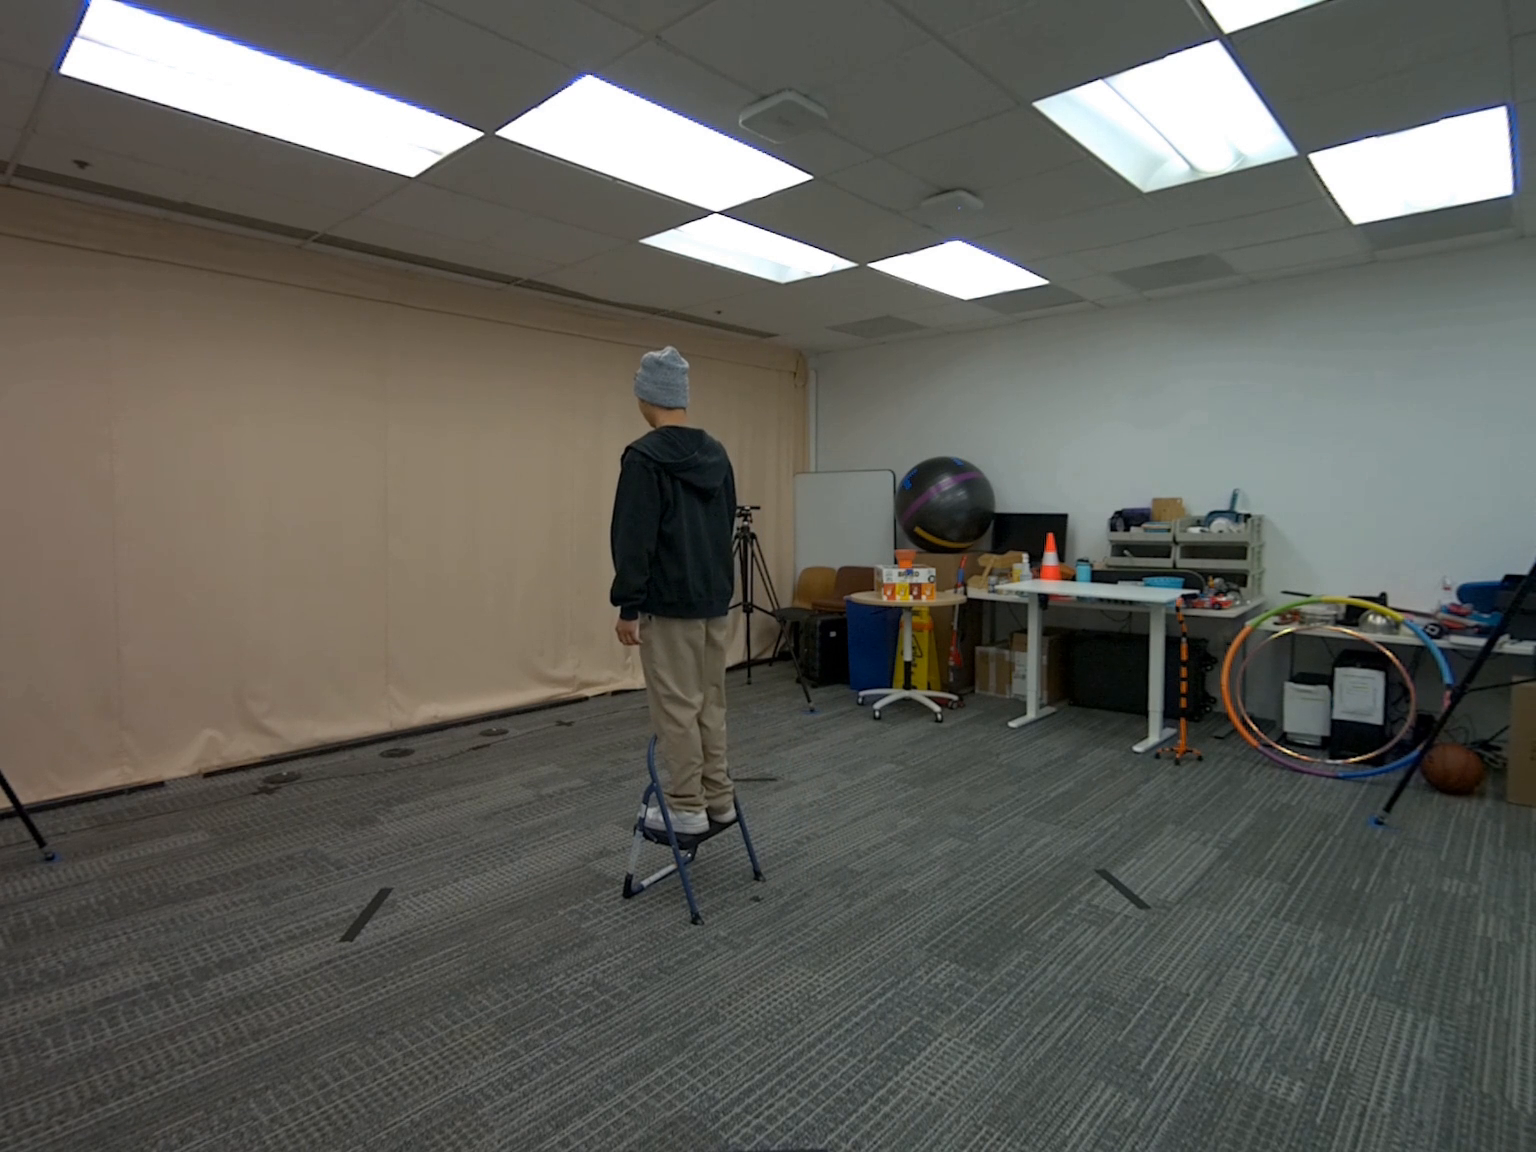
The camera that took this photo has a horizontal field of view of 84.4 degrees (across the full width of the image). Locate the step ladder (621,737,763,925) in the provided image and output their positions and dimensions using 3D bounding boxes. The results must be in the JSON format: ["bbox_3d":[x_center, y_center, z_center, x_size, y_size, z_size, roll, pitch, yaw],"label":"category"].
[{"bbox_3d":[-0.269,0.837,3.055,0.360,0.605,0.419,1,3,33],"label":"step ladder"}]
